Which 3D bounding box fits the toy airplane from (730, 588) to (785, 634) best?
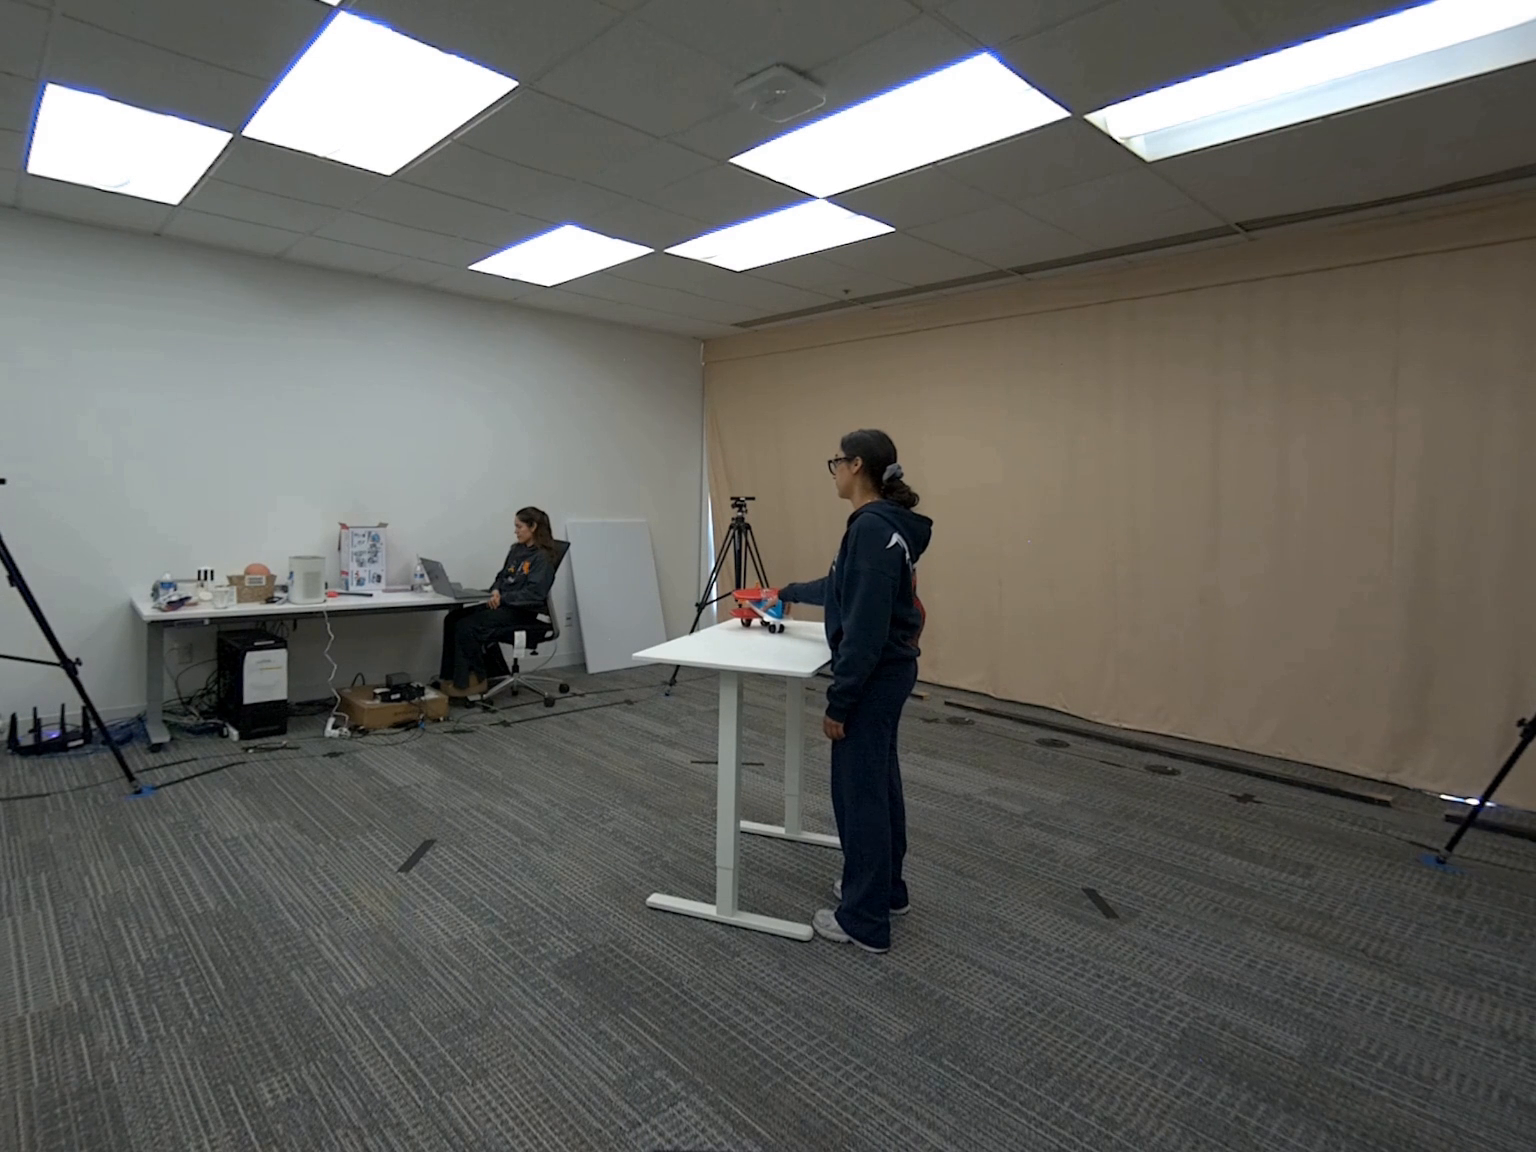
[{"bbox_3d":[-0.002,0.132,3.318,0.265,0.156,0.246,4,6,36],"label":"toy airplane"}]
